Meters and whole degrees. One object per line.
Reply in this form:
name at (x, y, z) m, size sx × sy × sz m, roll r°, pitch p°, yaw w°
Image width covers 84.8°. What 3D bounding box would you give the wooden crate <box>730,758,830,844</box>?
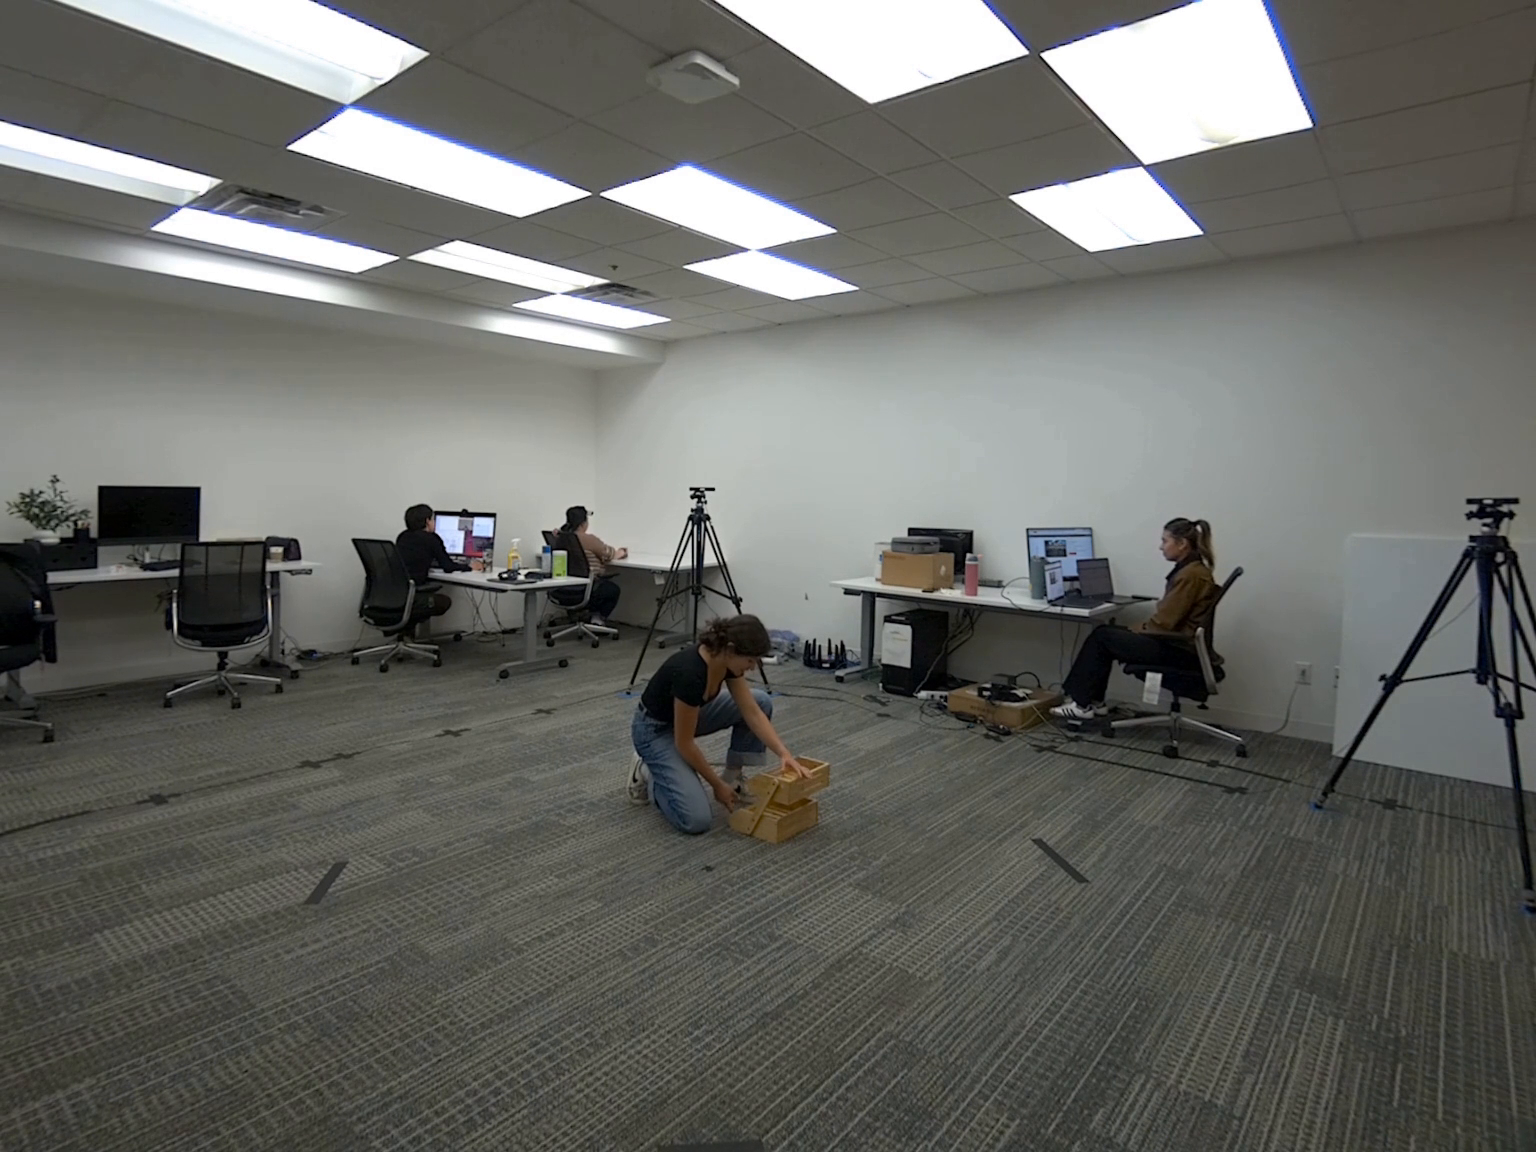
wooden crate at (0.030, 0.892, 3.508) m, size 0.312 × 0.272 × 0.315 m, roll 5°, pitch 7°, yaw 38°
